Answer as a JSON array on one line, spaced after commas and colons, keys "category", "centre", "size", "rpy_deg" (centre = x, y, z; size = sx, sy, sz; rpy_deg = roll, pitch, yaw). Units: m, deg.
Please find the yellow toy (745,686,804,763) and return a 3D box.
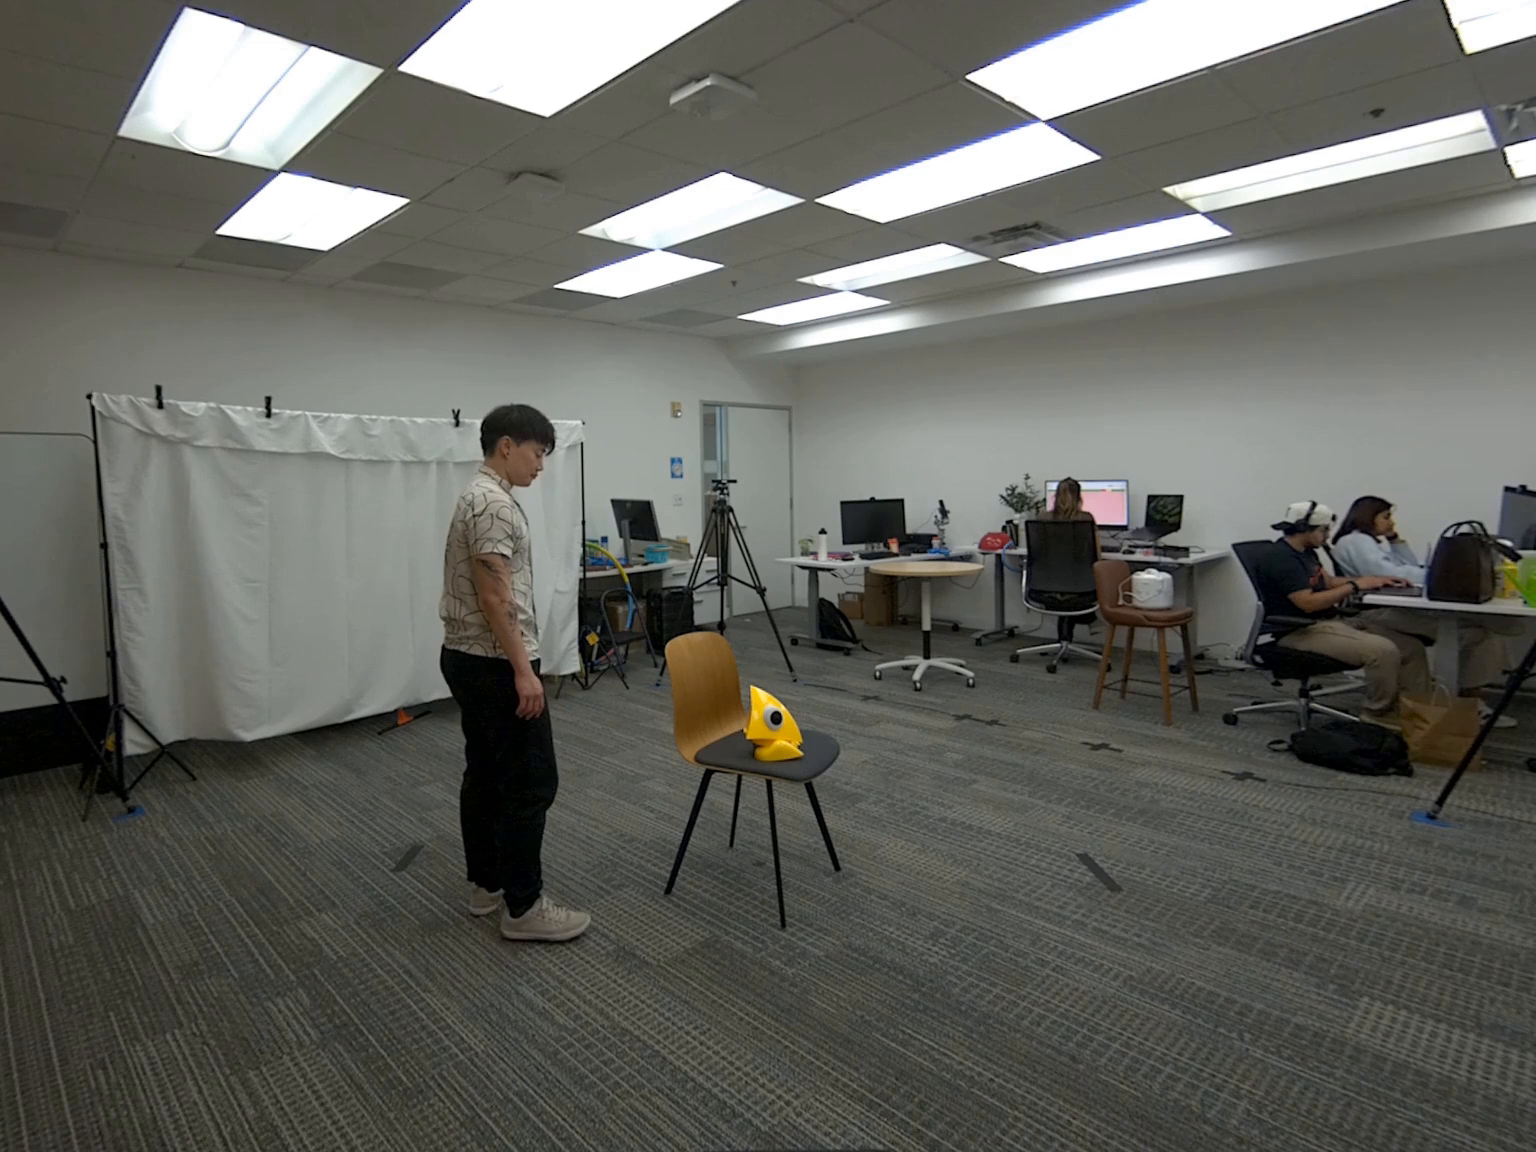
[{"category": "yellow toy", "centre": [0.011, 0.477, 2.869], "size": [0.193, 0.230, 0.205], "rpy_deg": [-5, 1, -2]}]
